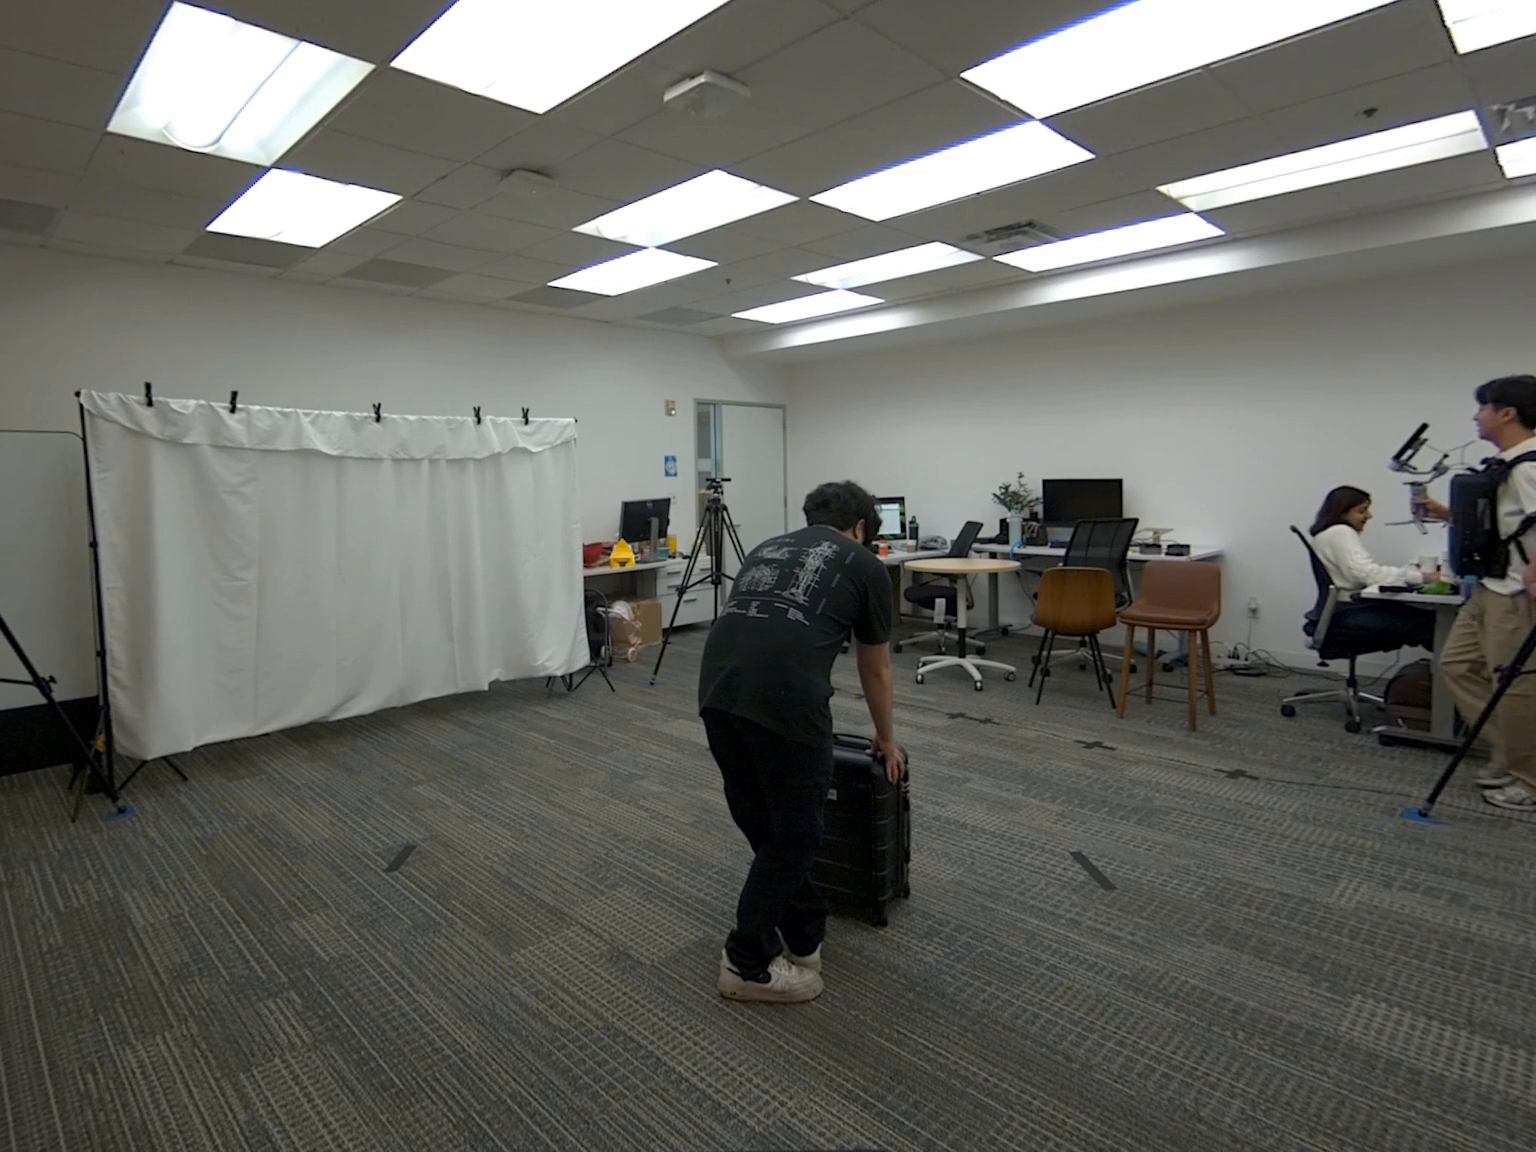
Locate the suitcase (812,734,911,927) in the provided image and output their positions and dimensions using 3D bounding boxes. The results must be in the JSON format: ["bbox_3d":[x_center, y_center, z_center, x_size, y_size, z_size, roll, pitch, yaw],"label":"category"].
[{"bbox_3d":[0.272,0.803,2.784,0.386,0.546,0.243,3,8,31],"label":"suitcase"}]
